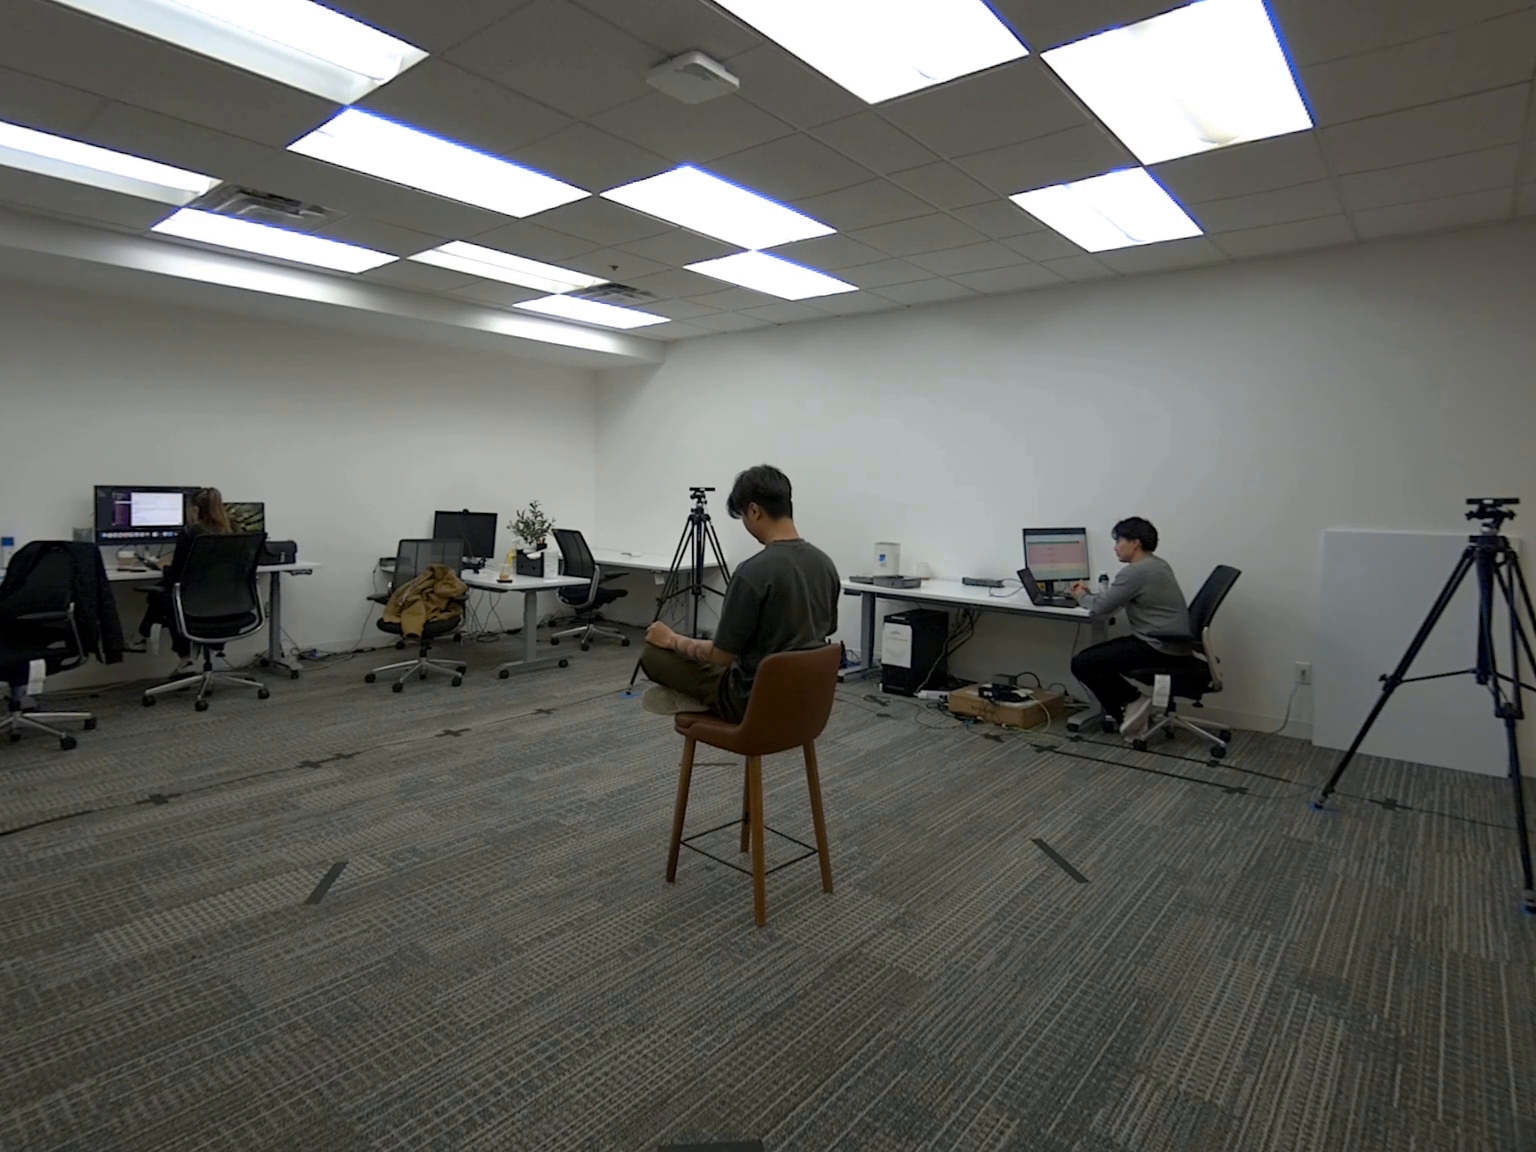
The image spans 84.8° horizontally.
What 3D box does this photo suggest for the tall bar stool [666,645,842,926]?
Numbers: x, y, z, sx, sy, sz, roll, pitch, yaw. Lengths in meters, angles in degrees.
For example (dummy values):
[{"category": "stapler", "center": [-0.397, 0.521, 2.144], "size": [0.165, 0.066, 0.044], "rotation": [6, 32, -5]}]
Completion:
[{"category": "tall bar stool", "center": [-0.051, 0.649, 2.953], "size": [0.484, 0.886, 0.442], "rotation": [8, 6, 44]}]
